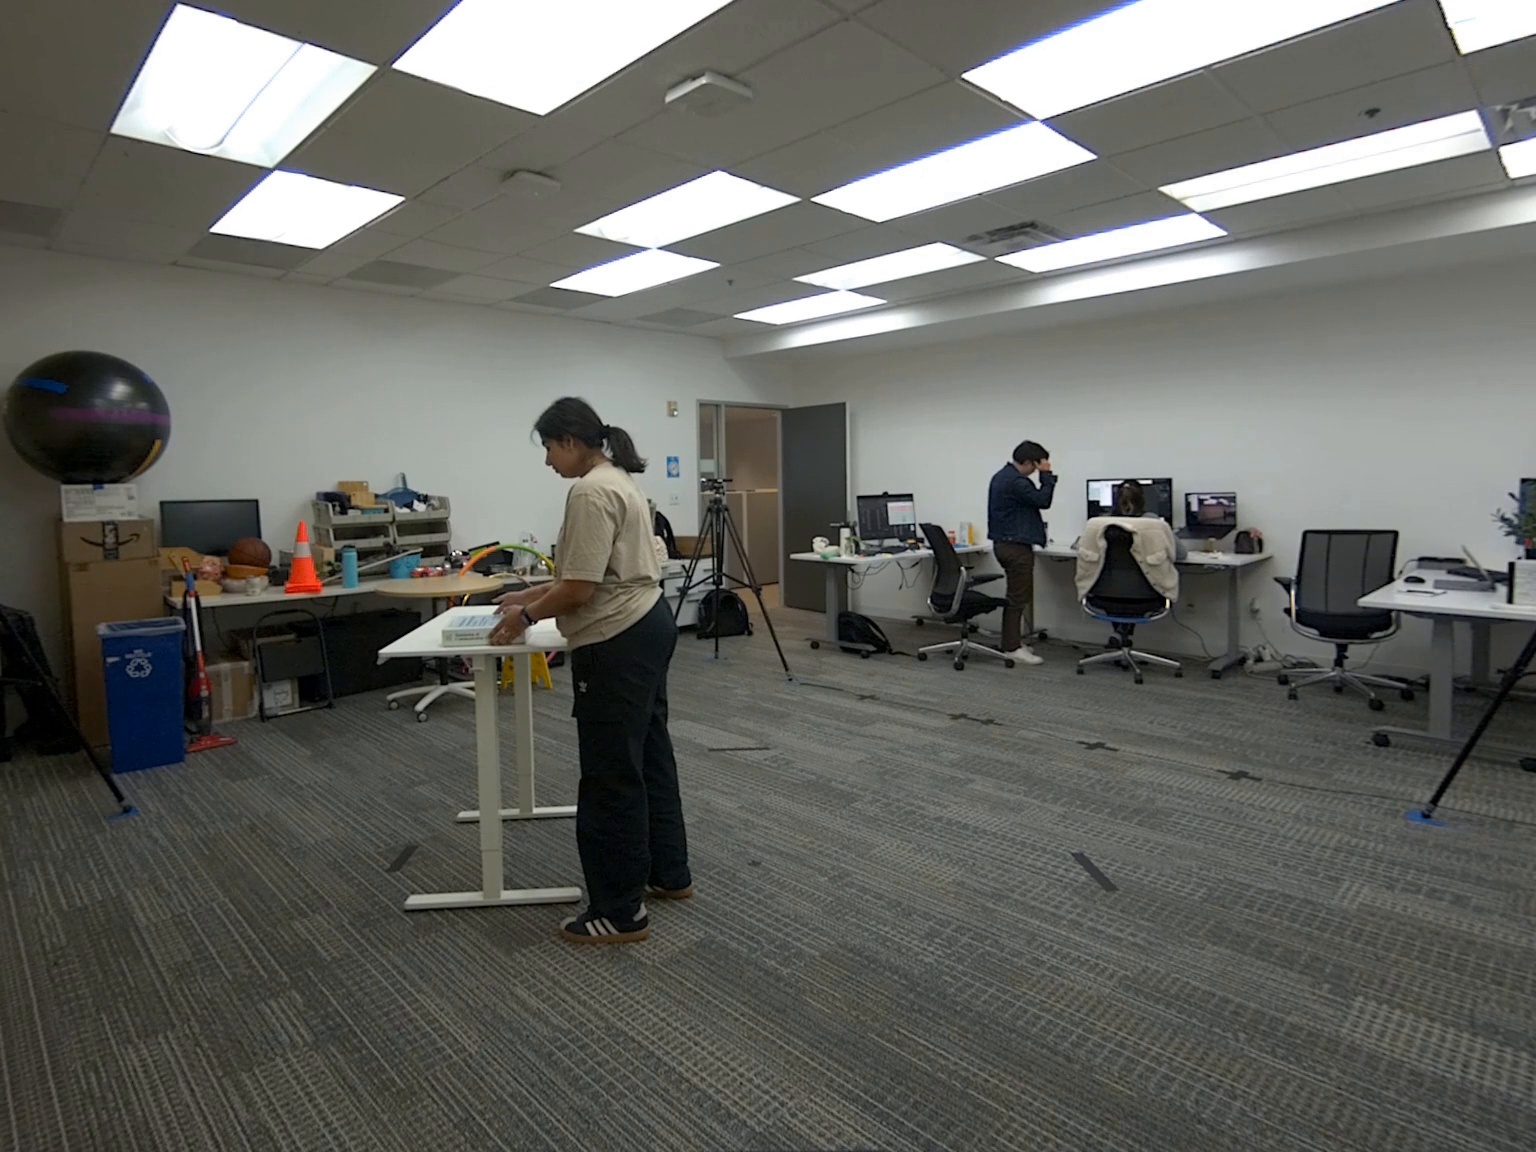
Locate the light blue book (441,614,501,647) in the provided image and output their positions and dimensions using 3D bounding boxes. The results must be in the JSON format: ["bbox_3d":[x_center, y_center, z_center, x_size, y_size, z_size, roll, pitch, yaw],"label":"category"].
[{"bbox_3d":[-0.972,0.185,2.789,0.190,0.058,0.265,-3,10,-7],"label":"light blue book"}]
